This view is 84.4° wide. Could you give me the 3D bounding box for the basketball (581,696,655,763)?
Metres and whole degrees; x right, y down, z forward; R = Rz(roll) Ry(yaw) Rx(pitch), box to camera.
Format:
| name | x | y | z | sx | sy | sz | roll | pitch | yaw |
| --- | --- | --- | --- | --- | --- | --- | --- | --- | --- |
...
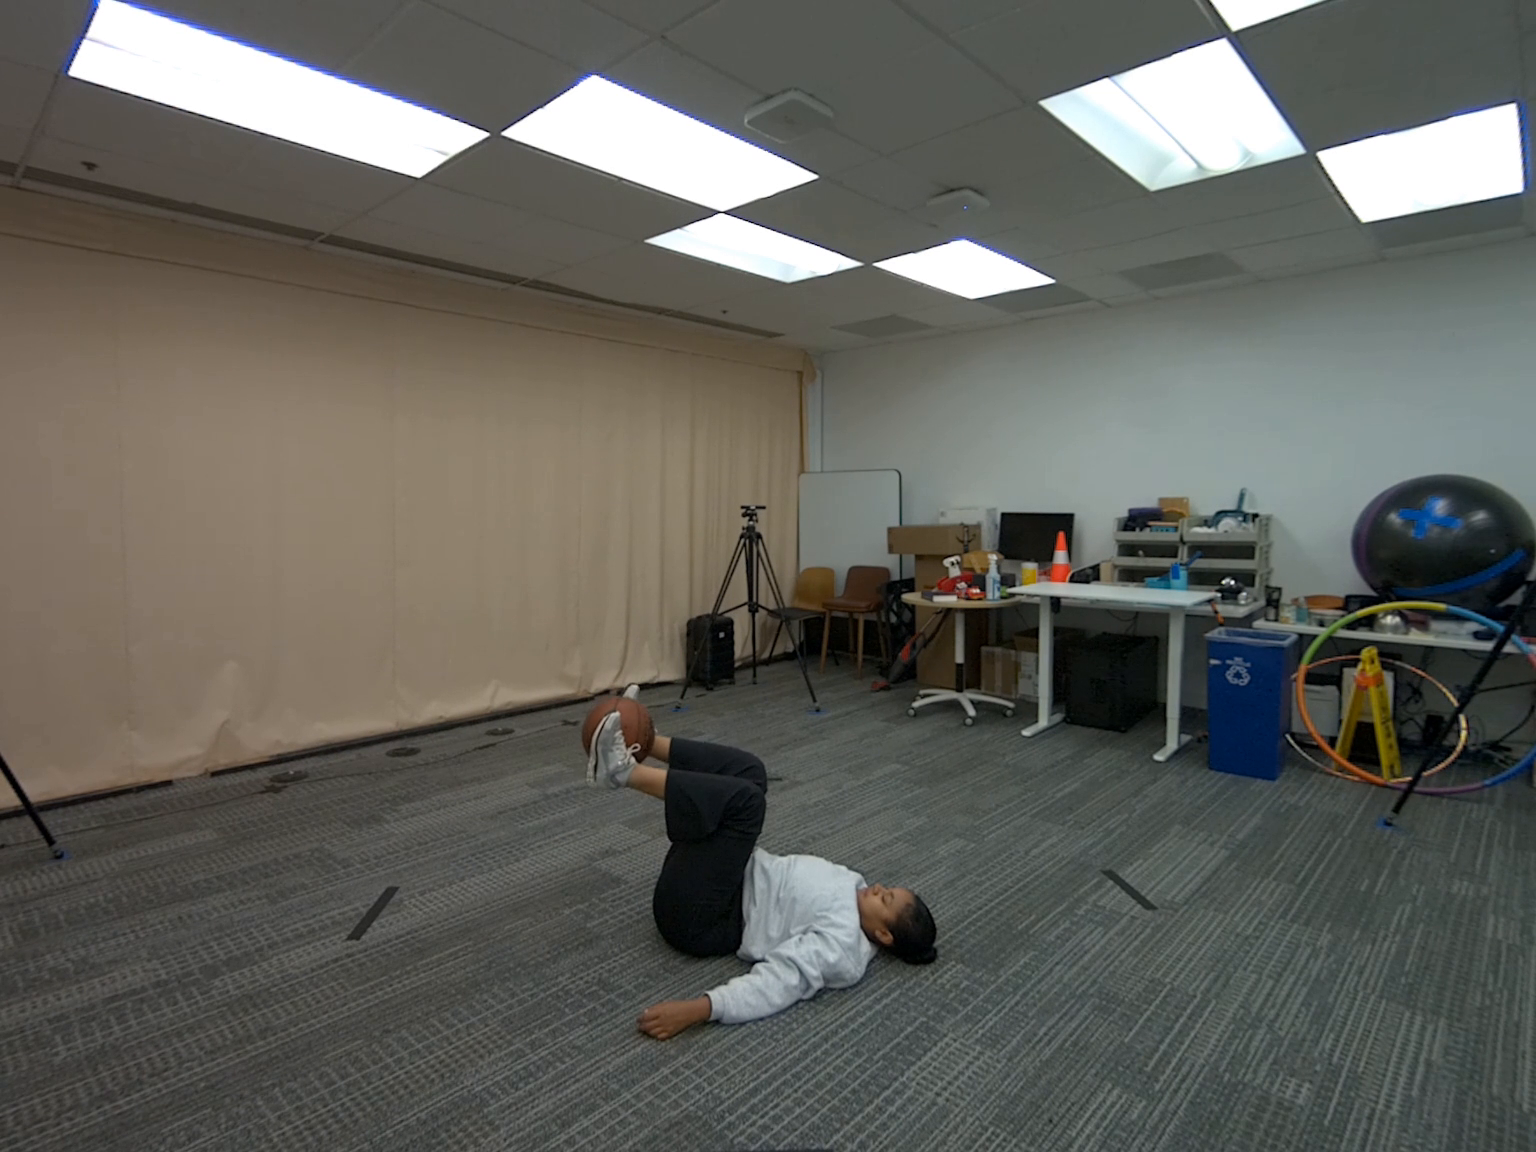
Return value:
| name | x | y | z | sx | sy | sz | roll | pitch | yaw |
| --- | --- | --- | --- | --- | --- | --- | --- | --- | --- |
| basketball | -0.480 | 0.511 | 2.742 | 0.236 | 0.236 | 0.236 | 2 | 0 | -2 |
